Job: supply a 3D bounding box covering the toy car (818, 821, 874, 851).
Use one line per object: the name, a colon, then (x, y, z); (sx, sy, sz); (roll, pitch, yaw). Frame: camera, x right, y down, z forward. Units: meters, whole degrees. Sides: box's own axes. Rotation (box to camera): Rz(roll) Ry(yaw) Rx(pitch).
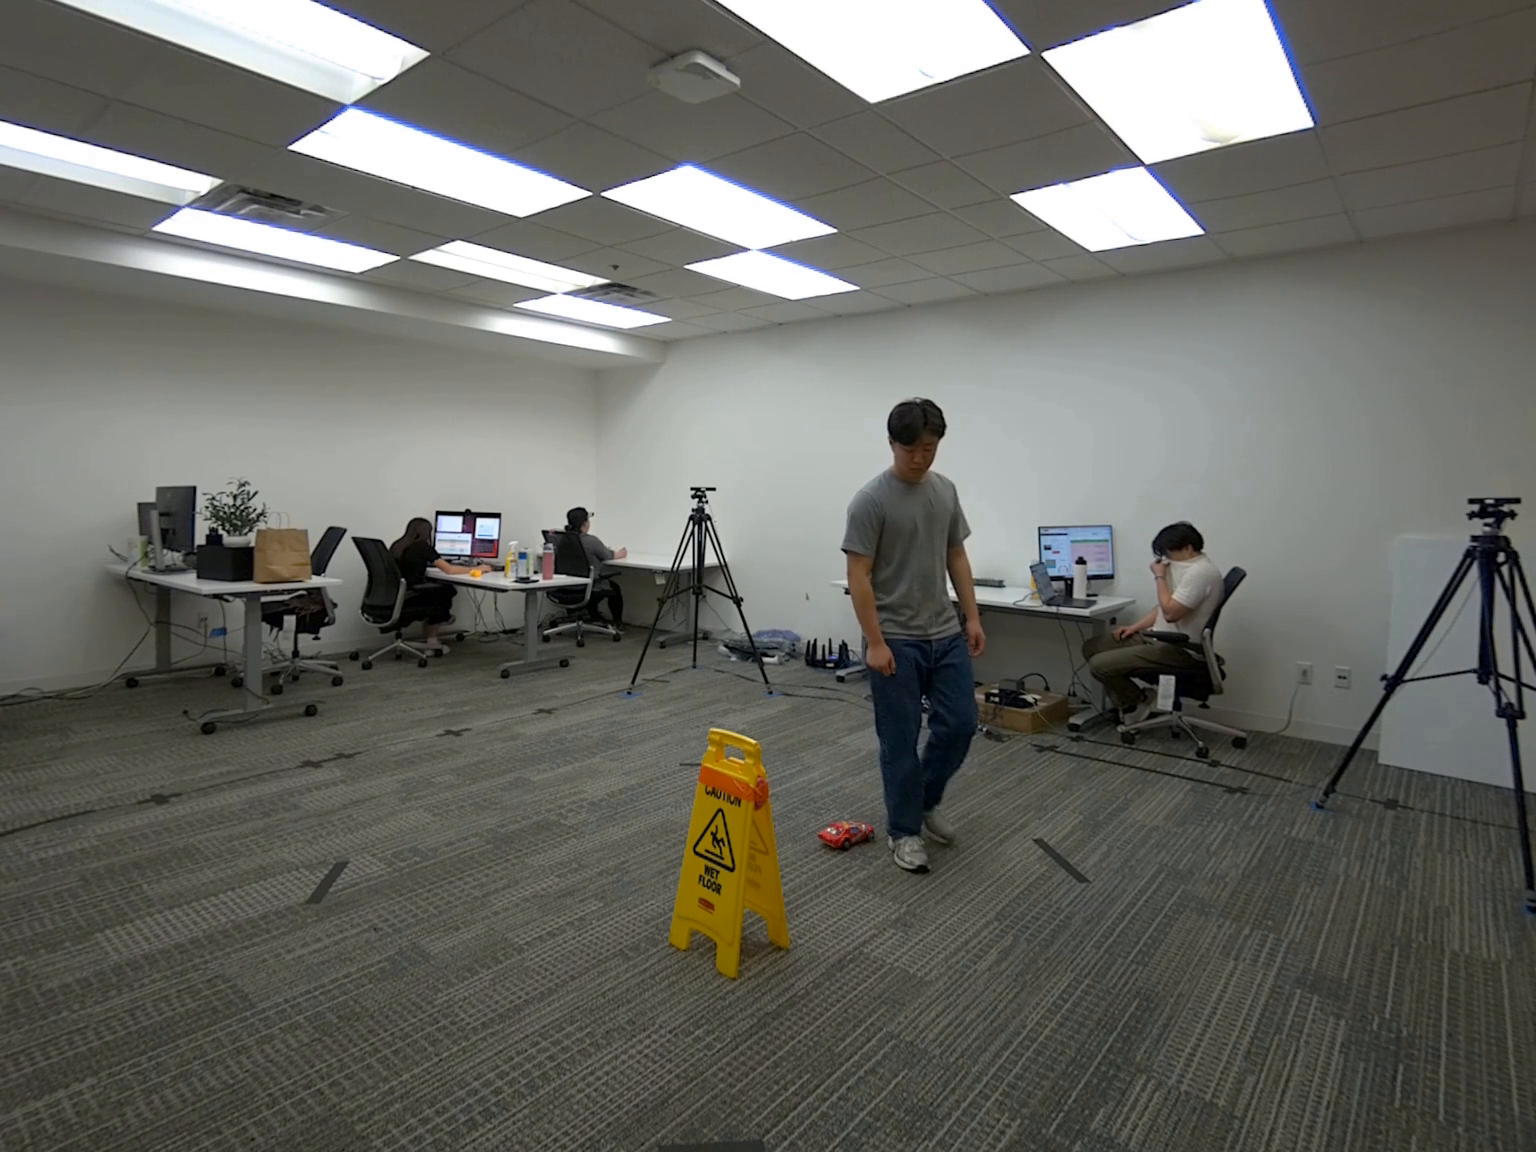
toy car: (0.297, 1.020, 3.367); (0.245, 0.083, 0.135); (10, -1, -40)
